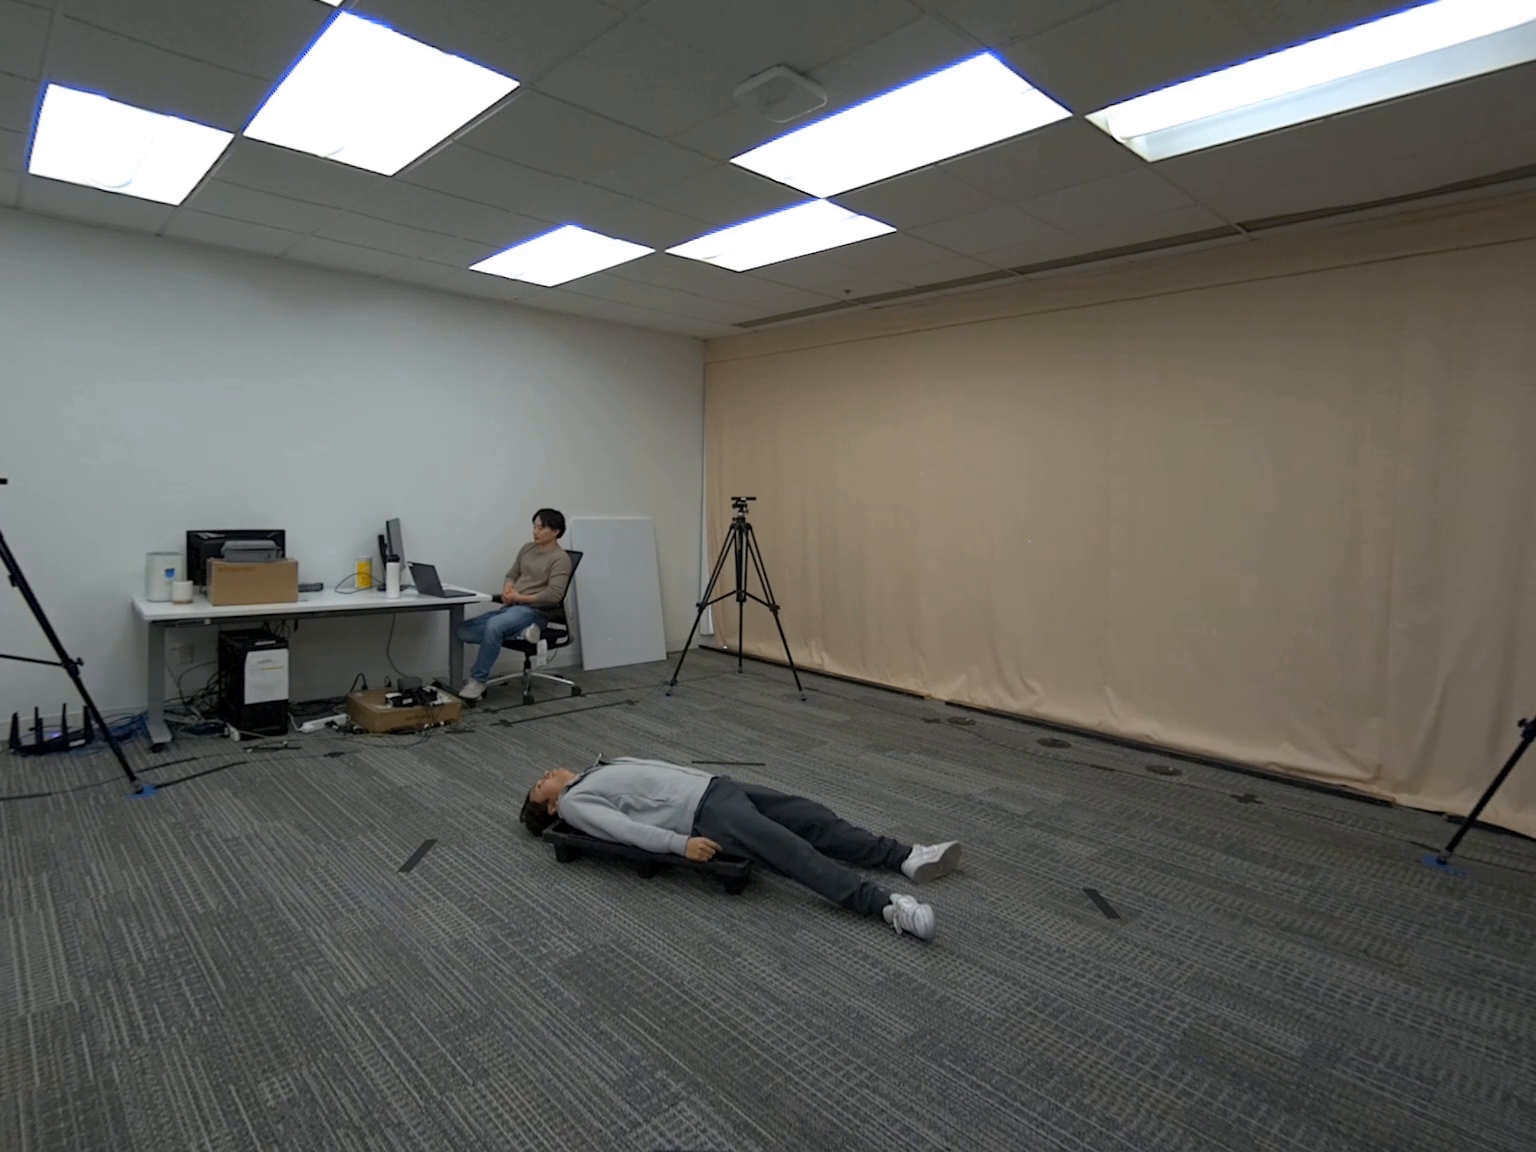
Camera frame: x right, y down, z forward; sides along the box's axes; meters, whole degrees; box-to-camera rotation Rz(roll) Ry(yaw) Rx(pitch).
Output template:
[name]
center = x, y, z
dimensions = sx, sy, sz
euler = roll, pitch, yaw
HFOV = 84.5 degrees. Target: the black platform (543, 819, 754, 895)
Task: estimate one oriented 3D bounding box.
[black platform]
center = -0.389, 1.007, 3.286
dimensions = 0.819, 0.143, 0.597
euler = 2, 7, 21
